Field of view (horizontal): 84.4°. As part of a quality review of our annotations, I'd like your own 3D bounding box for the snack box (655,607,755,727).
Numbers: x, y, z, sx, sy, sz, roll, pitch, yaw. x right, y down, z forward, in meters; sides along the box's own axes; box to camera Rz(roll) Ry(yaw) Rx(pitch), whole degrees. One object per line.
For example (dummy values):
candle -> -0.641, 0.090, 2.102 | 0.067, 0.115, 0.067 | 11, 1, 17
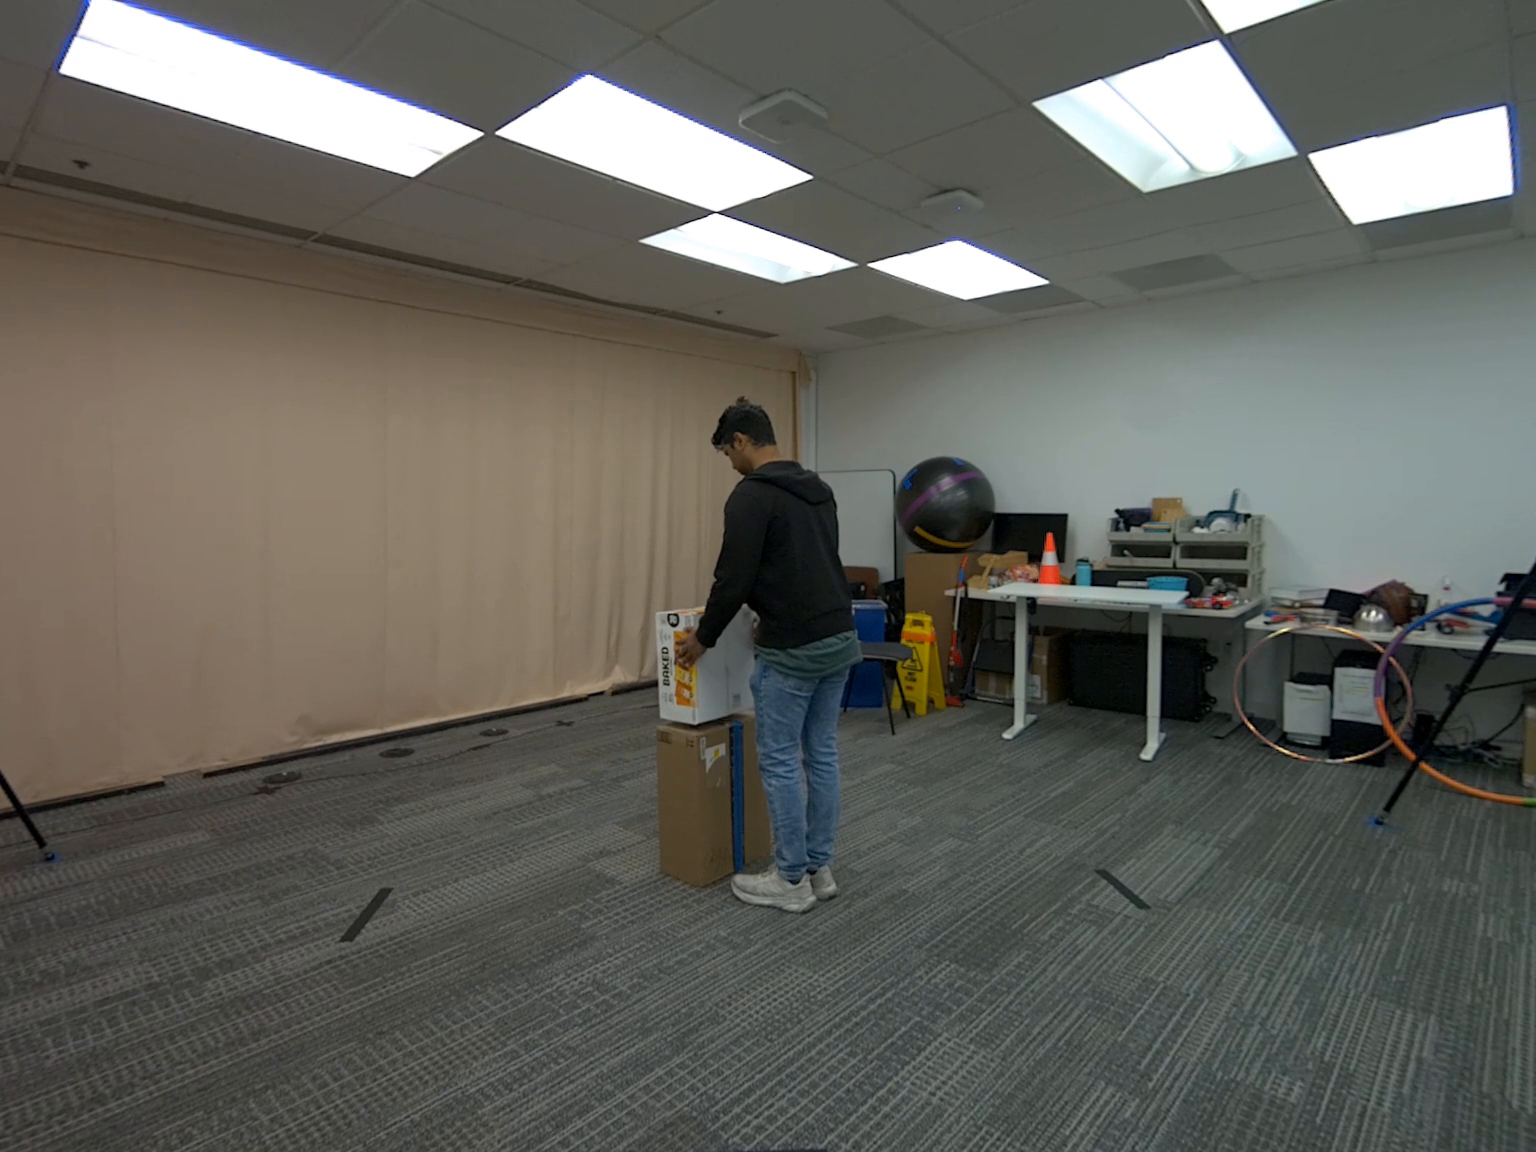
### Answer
snack box -> -0.231, 0.324, 3.248 | 0.212, 0.405, 0.330 | -1, 2, 42
